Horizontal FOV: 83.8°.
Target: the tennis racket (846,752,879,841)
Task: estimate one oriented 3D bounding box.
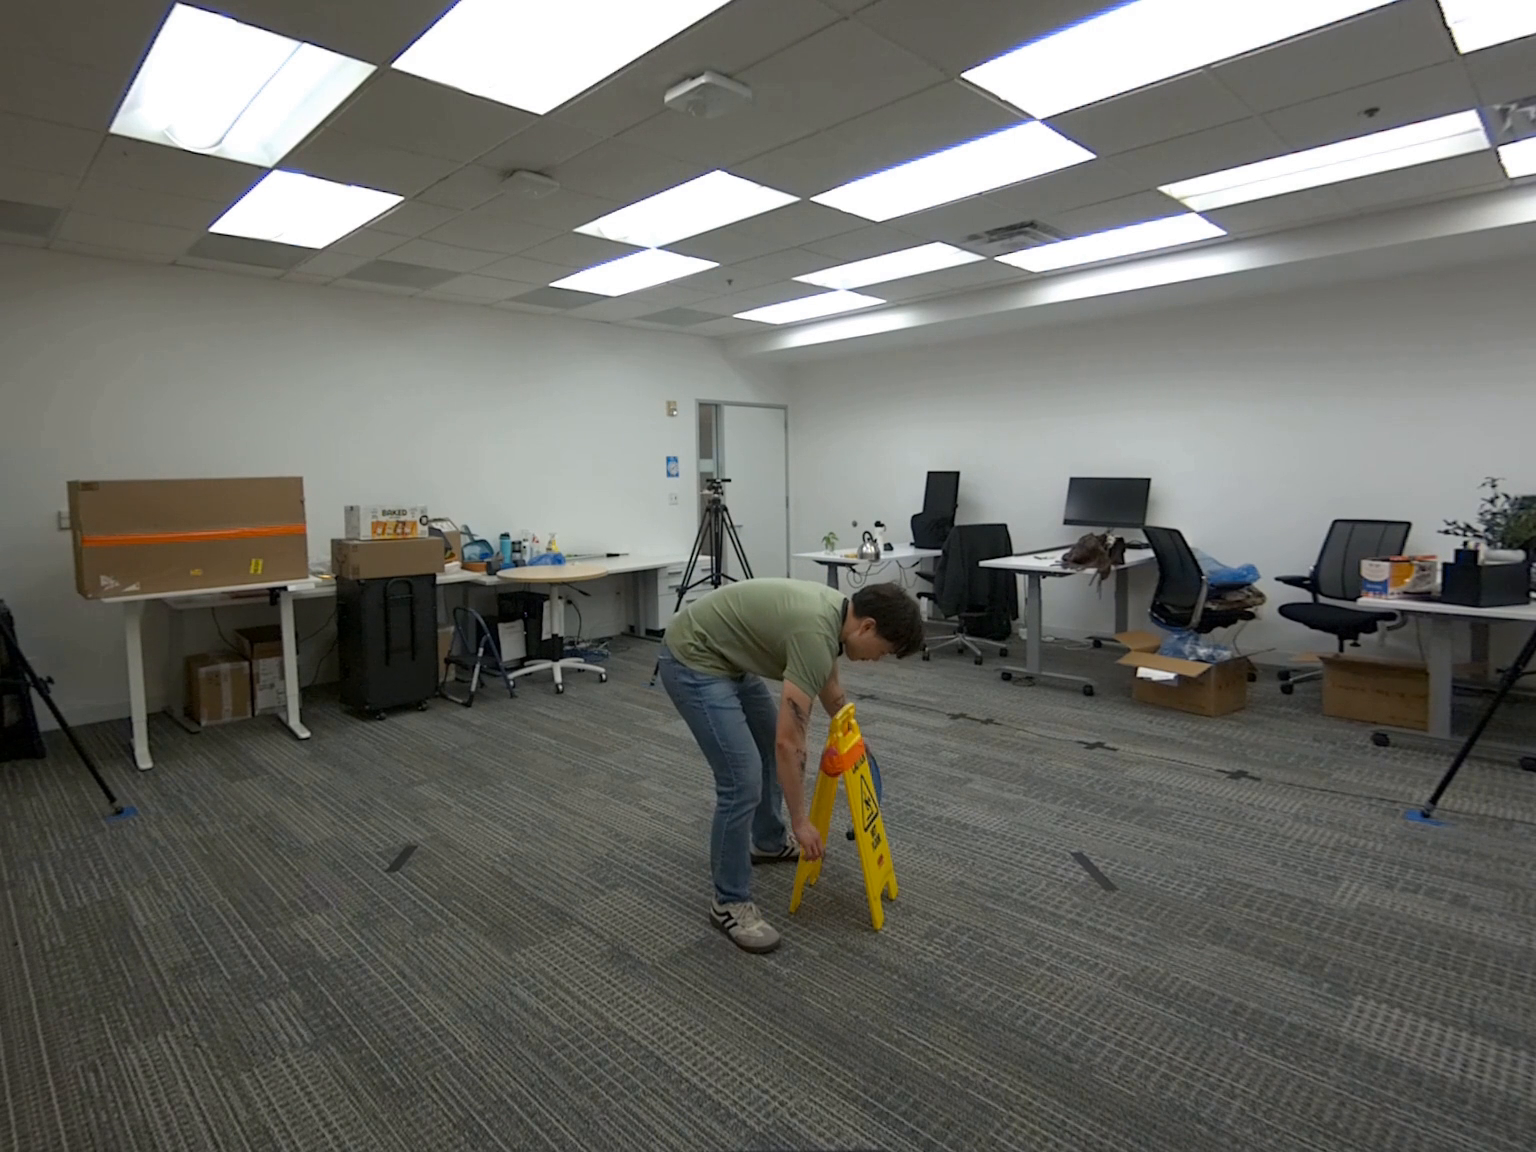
[{"bbox_3d":[0.282,0.795,3.018,0.032,0.211,0.433,-18,14,20],"label":"tennis racket"}]
